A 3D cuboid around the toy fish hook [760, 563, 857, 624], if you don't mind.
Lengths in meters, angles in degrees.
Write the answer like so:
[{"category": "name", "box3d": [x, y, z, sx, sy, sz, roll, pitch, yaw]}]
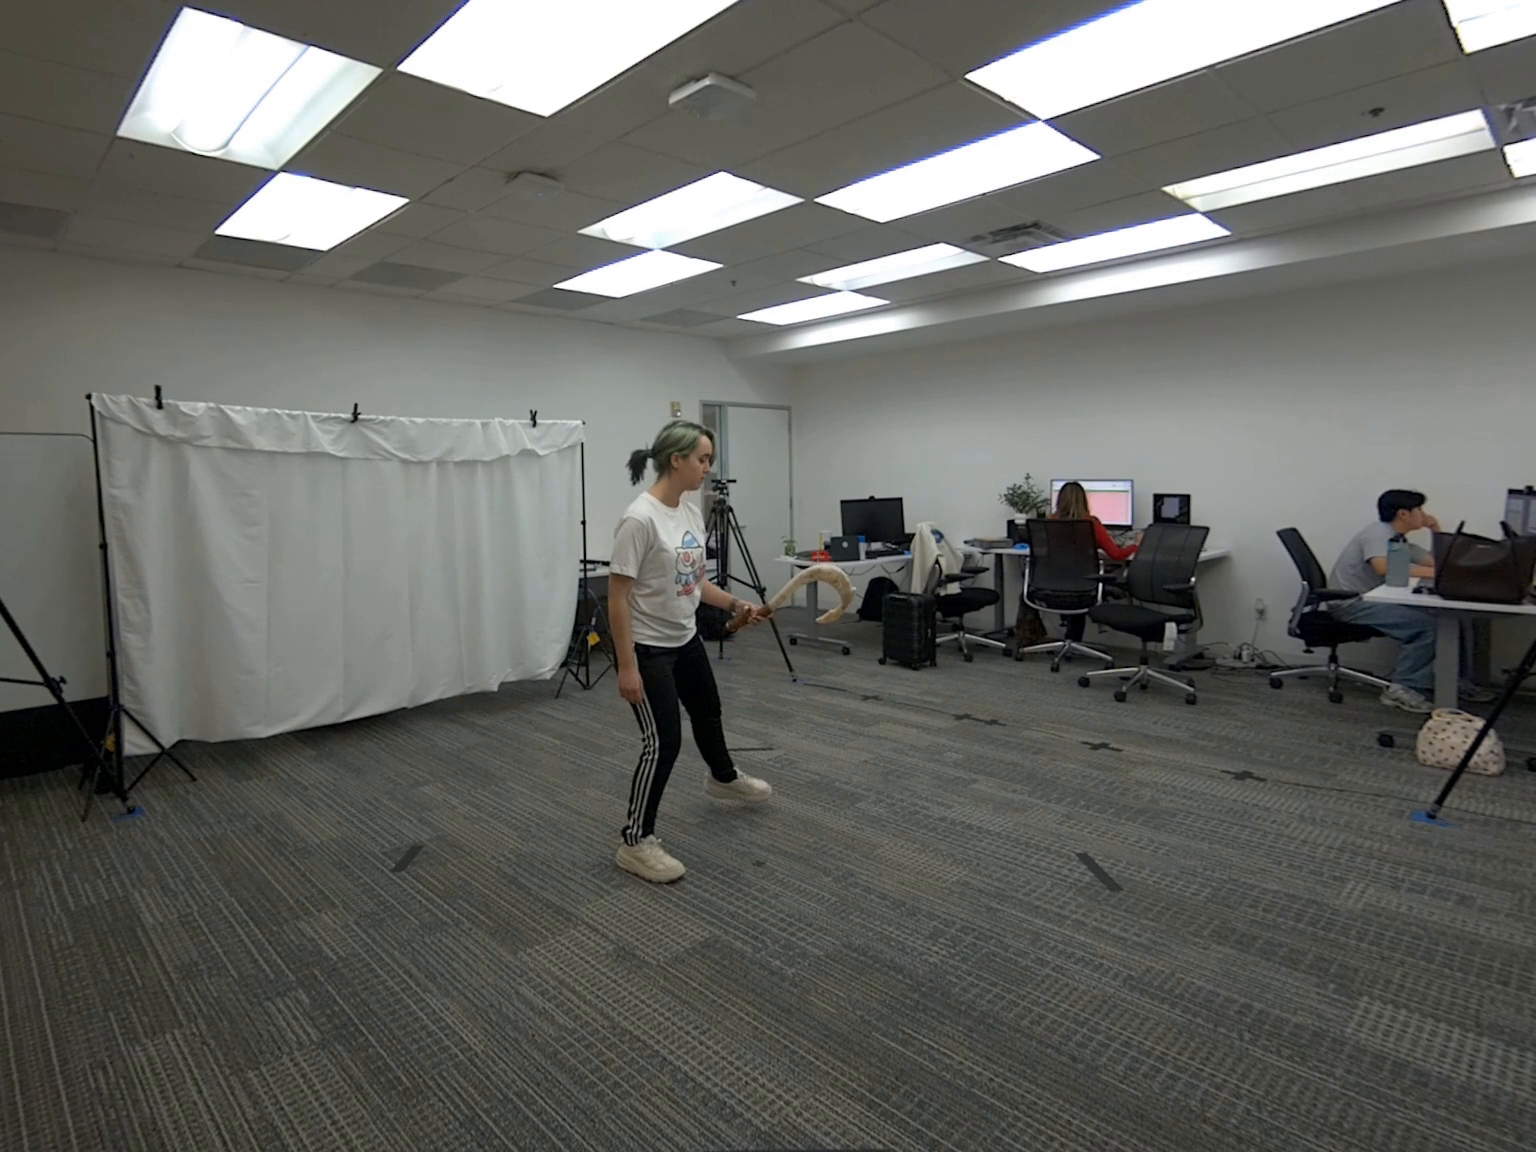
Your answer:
[{"category": "toy fish hook", "box3d": [0.081, 0.129, 3.095, 0.511, 0.222, 0.048, -29, 9, 22]}]
